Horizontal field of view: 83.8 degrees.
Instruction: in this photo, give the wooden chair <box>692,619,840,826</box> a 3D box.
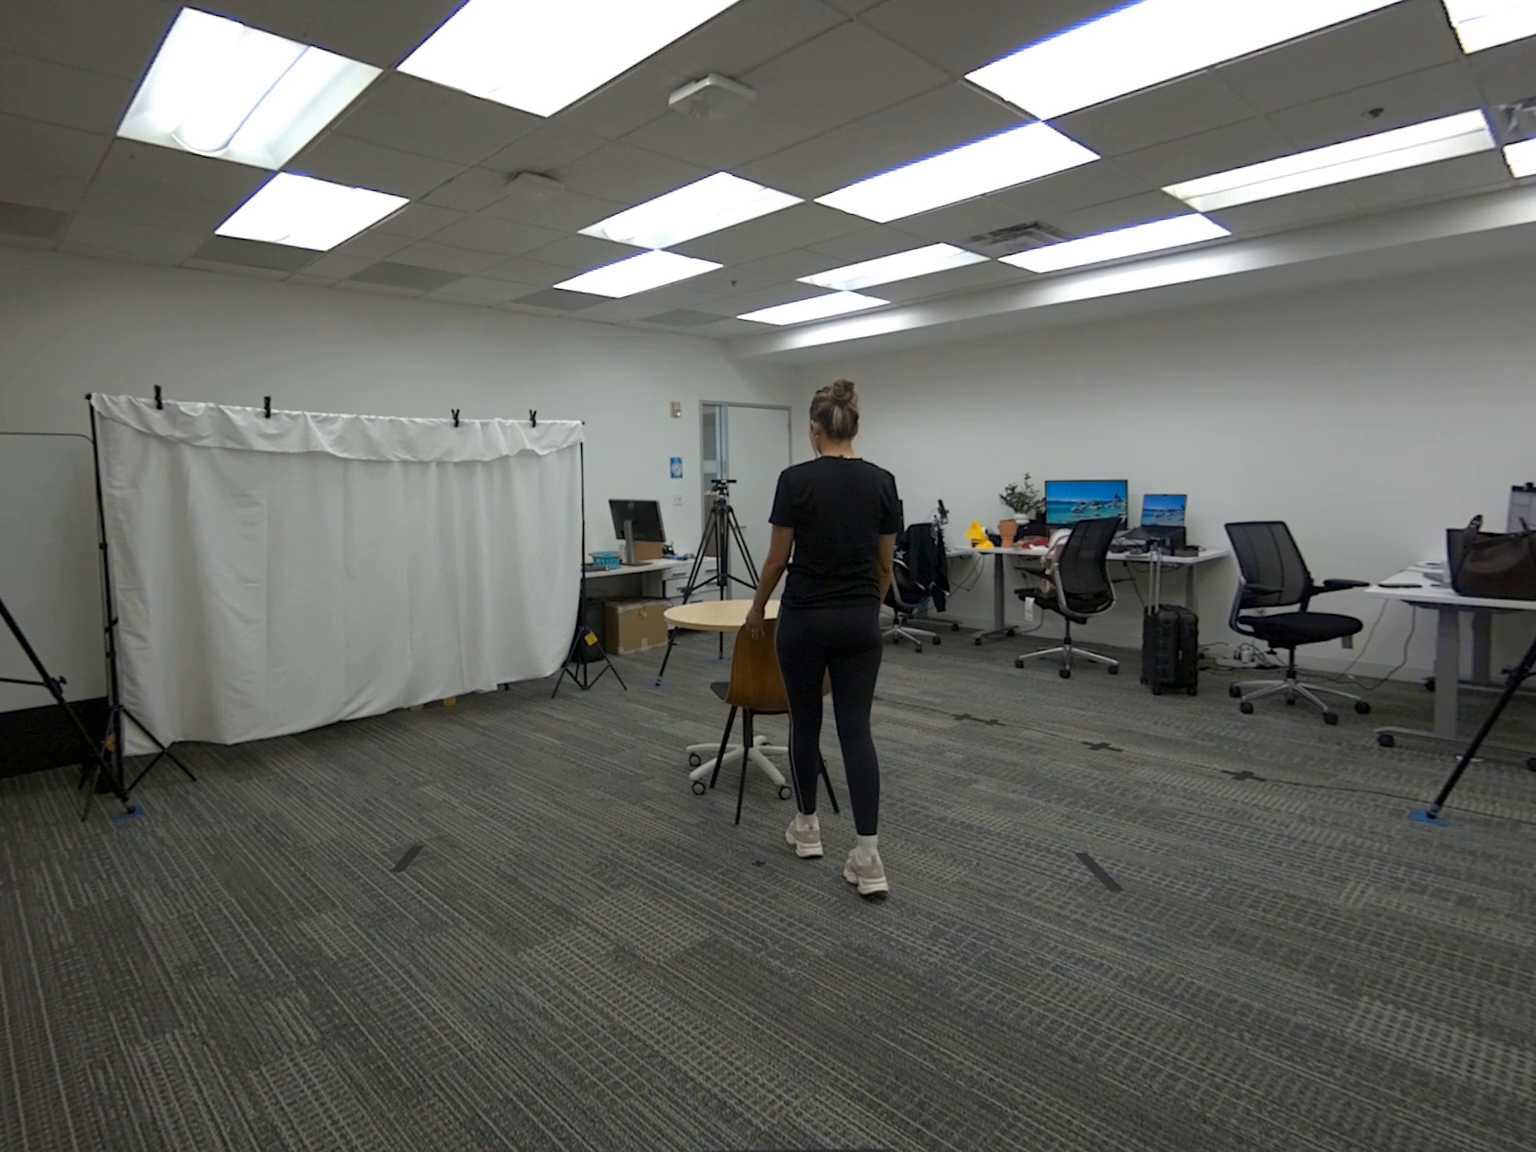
[{"bbox_3d":[0.005,0.552,3.706,0.471,0.872,0.534,-2,8,-17],"label":"wooden chair"}]
